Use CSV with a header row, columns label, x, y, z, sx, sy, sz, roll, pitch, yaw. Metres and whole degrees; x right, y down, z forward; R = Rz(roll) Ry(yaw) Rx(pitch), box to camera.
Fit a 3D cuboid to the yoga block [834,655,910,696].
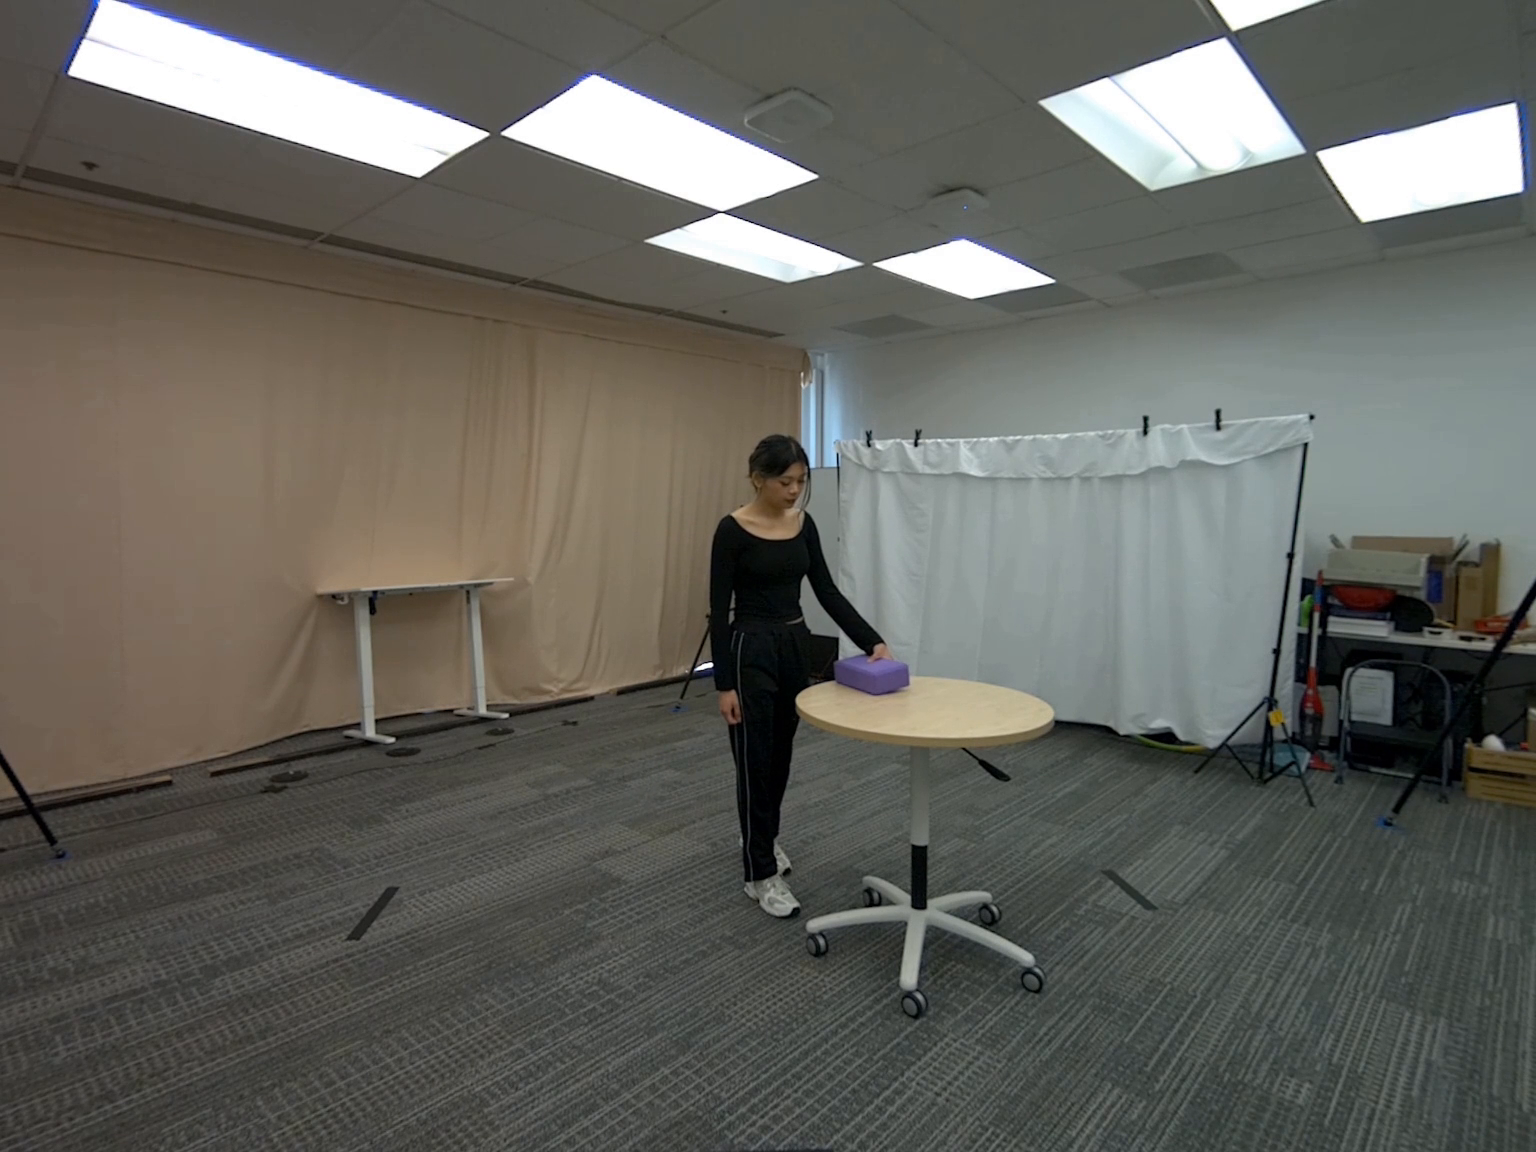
label,x,y,z,sx,sy,sz,roll,pitch,yaw
yoga block,0.353,0.328,2.796,0.146,0.076,0.235,-10,9,-25
